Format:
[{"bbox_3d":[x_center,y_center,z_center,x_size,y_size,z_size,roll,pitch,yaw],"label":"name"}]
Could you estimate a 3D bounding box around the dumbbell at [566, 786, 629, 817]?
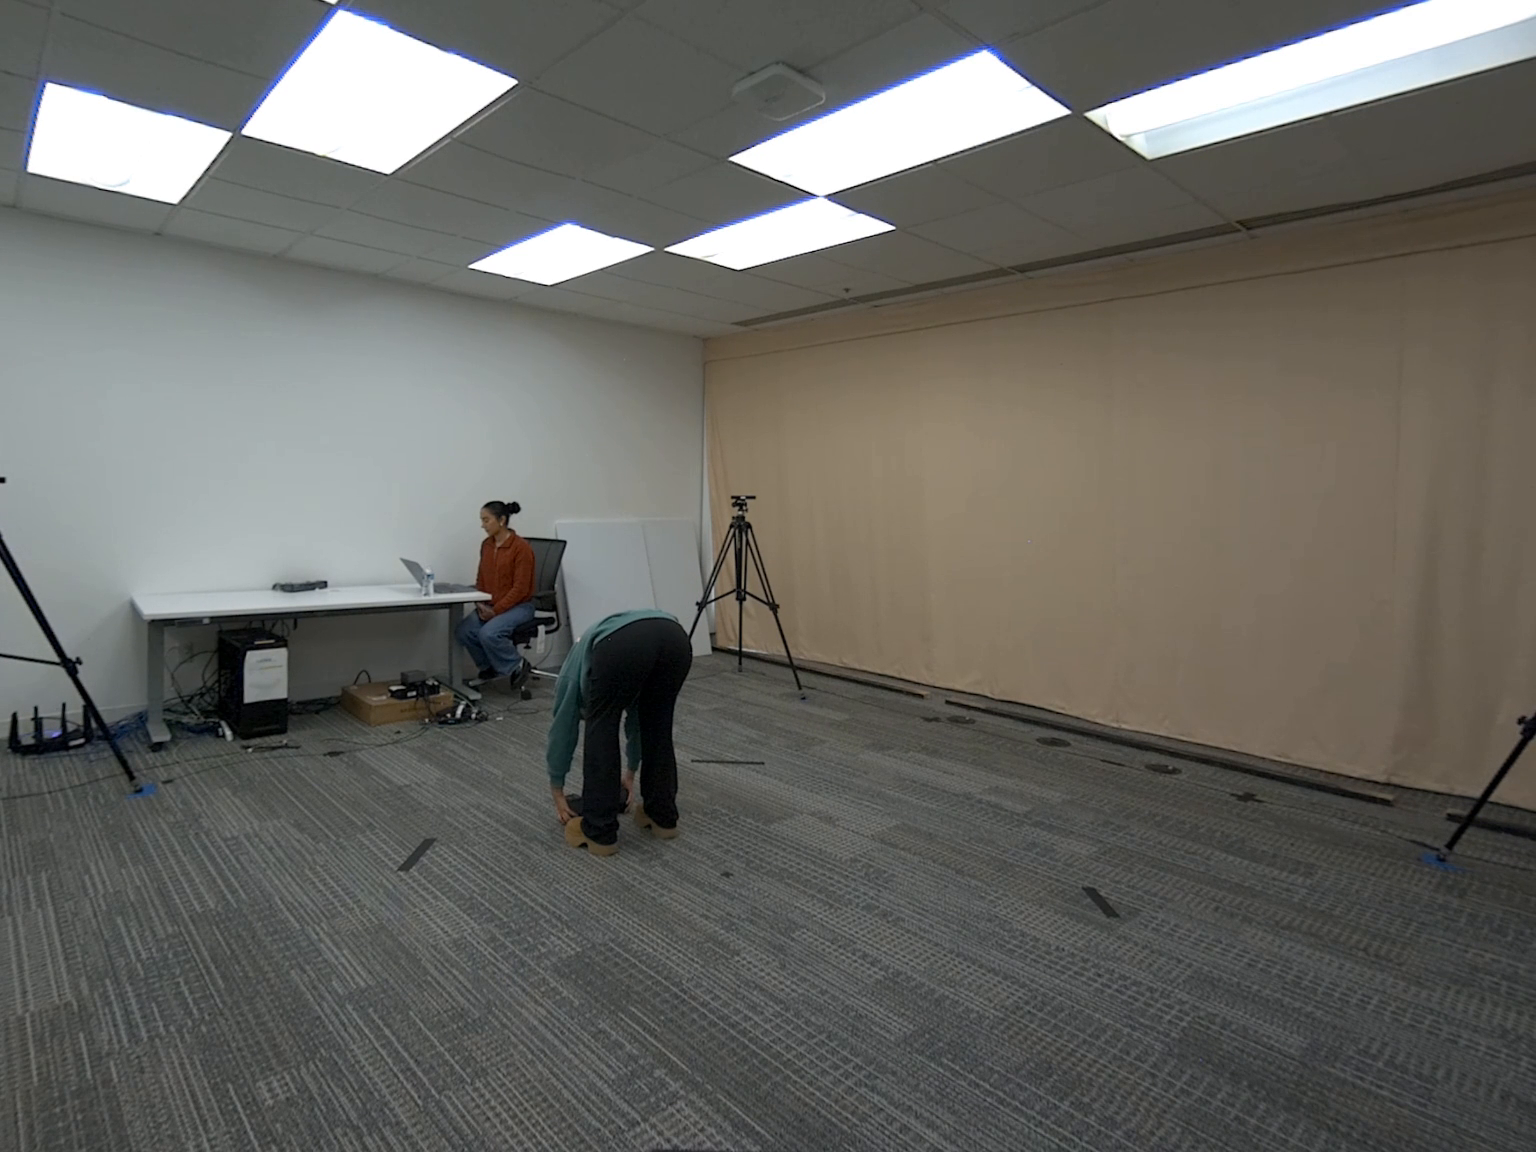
[{"bbox_3d":[-0.756,0.988,3.642,0.287,0.125,0.109,-1,-28,-37],"label":"dumbbell"}]
